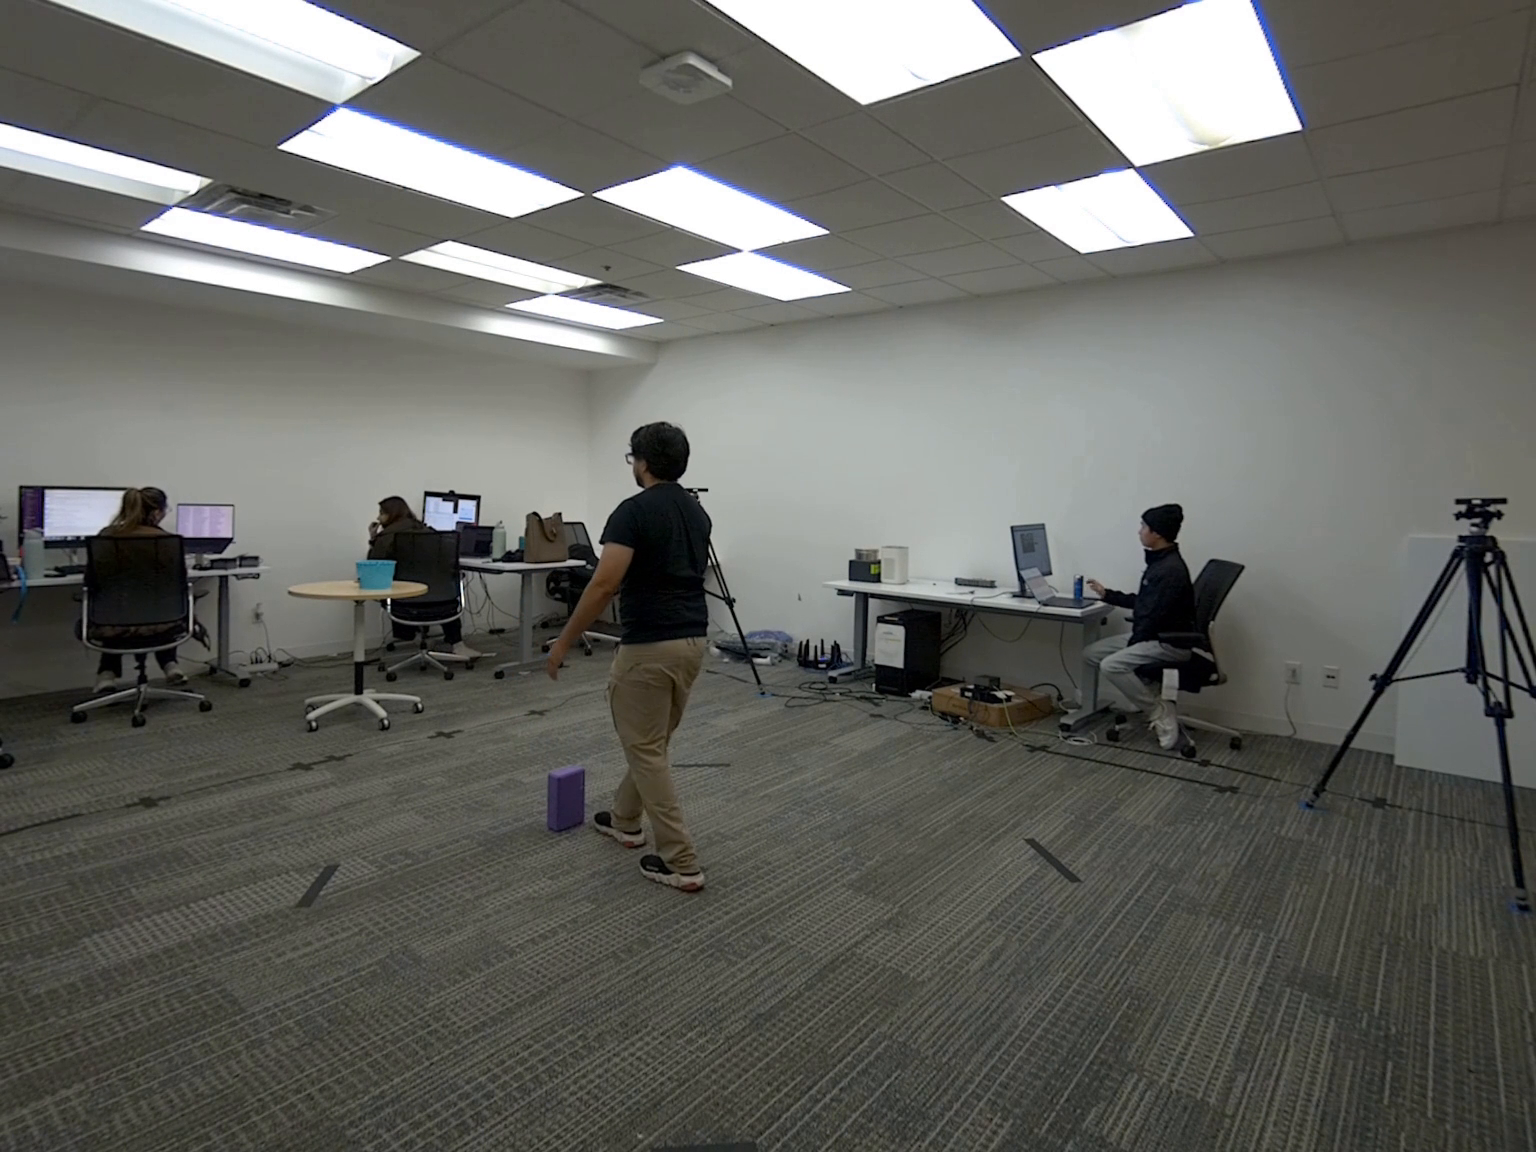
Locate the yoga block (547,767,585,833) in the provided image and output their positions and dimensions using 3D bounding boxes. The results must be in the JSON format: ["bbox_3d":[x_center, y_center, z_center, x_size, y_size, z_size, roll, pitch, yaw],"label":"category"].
[{"bbox_3d":[-0.840,0.906,3.488,0.079,0.229,0.144,3,4,38],"label":"yoga block"}]
